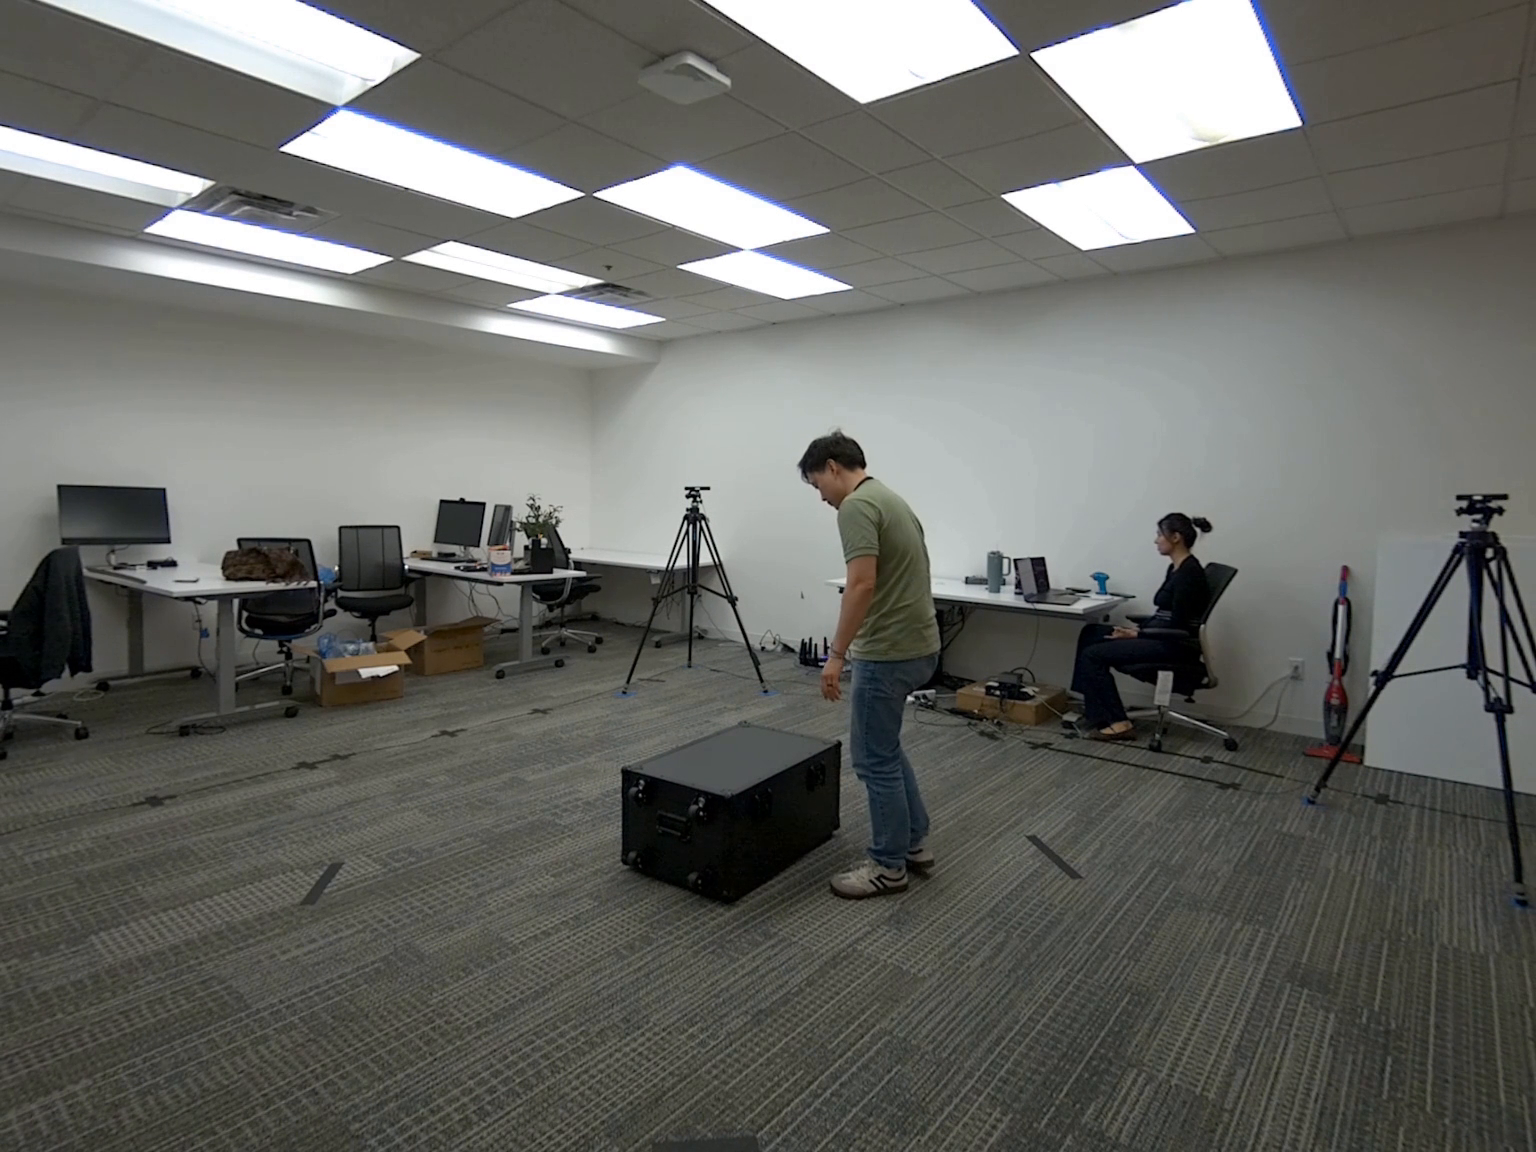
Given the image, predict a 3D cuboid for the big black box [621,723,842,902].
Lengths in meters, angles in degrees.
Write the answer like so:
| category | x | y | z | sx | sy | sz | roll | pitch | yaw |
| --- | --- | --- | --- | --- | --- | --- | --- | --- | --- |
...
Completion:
| category | x | y | z | sx | sy | sz | roll | pitch | yaw |
| --- | --- | --- | --- | --- | --- | --- | --- | --- | --- |
| big black box | -0.150 | 0.863 | 3.223 | 0.538 | 0.395 | 0.837 | 4 | 5 | 34 |
